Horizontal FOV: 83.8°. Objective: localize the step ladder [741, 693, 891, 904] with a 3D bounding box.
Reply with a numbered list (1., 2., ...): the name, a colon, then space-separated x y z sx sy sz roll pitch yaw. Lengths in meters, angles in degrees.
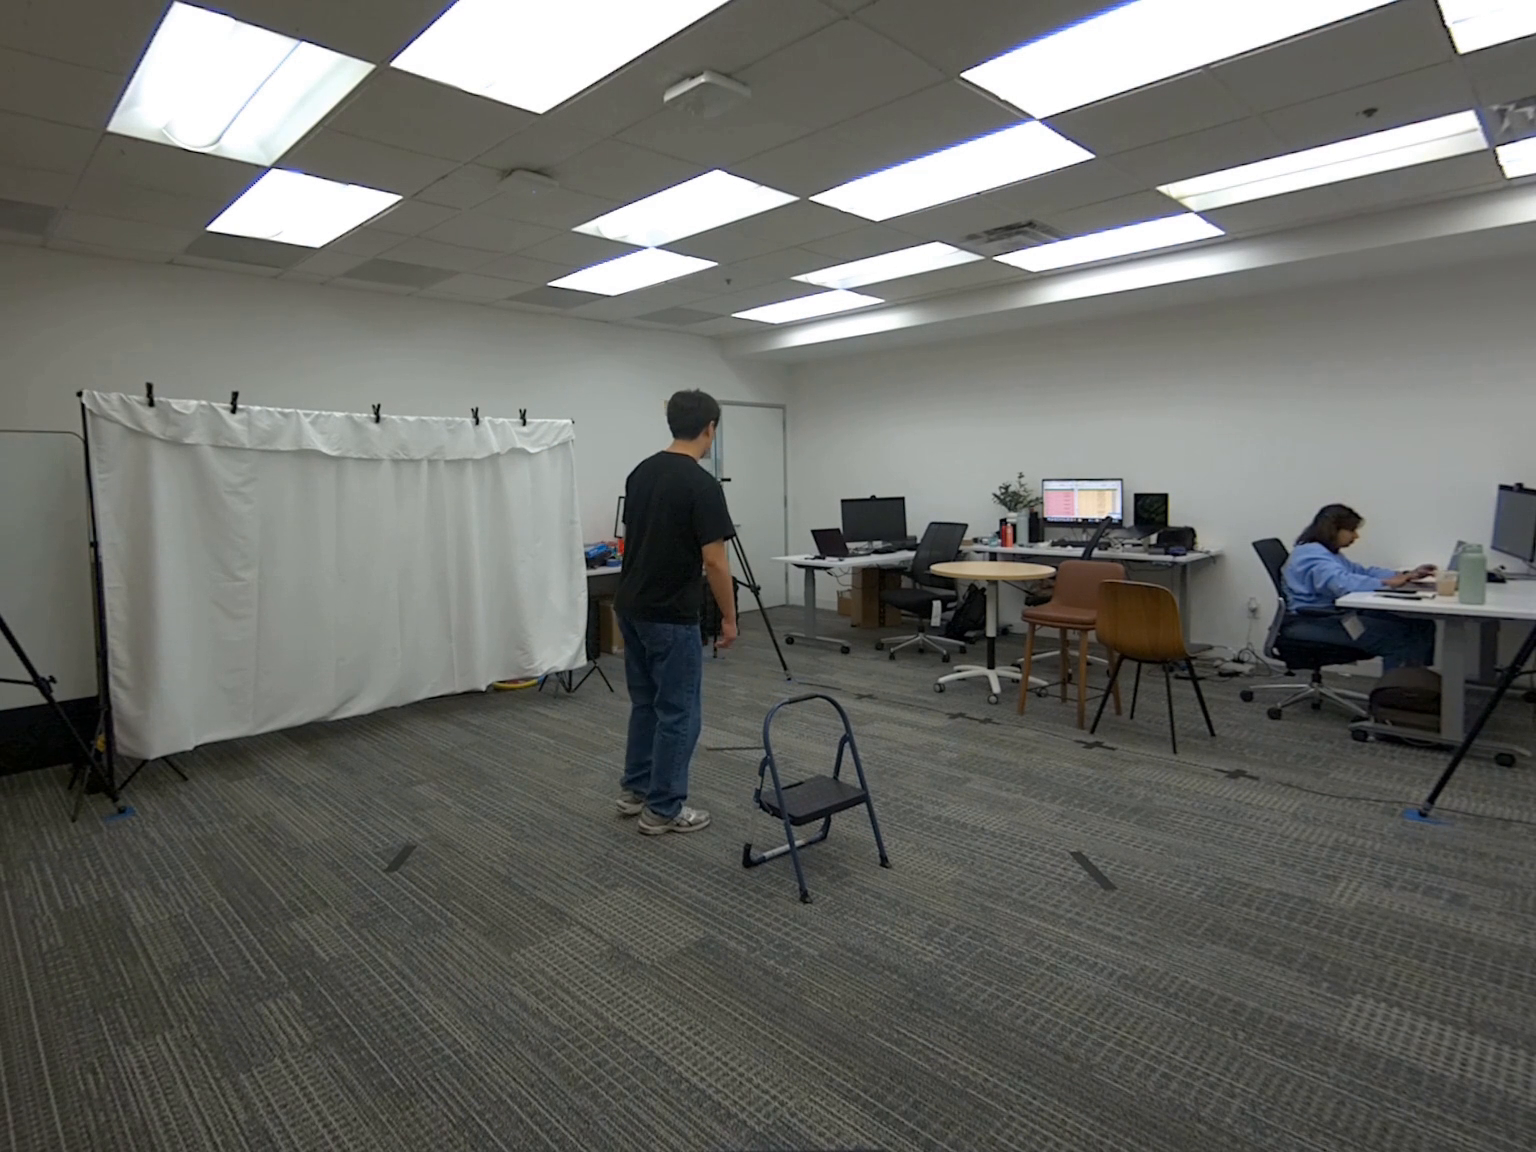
1. step ladder: 0.170 0.737 3.048 0.419 0.604 0.360 -4 5 -40
